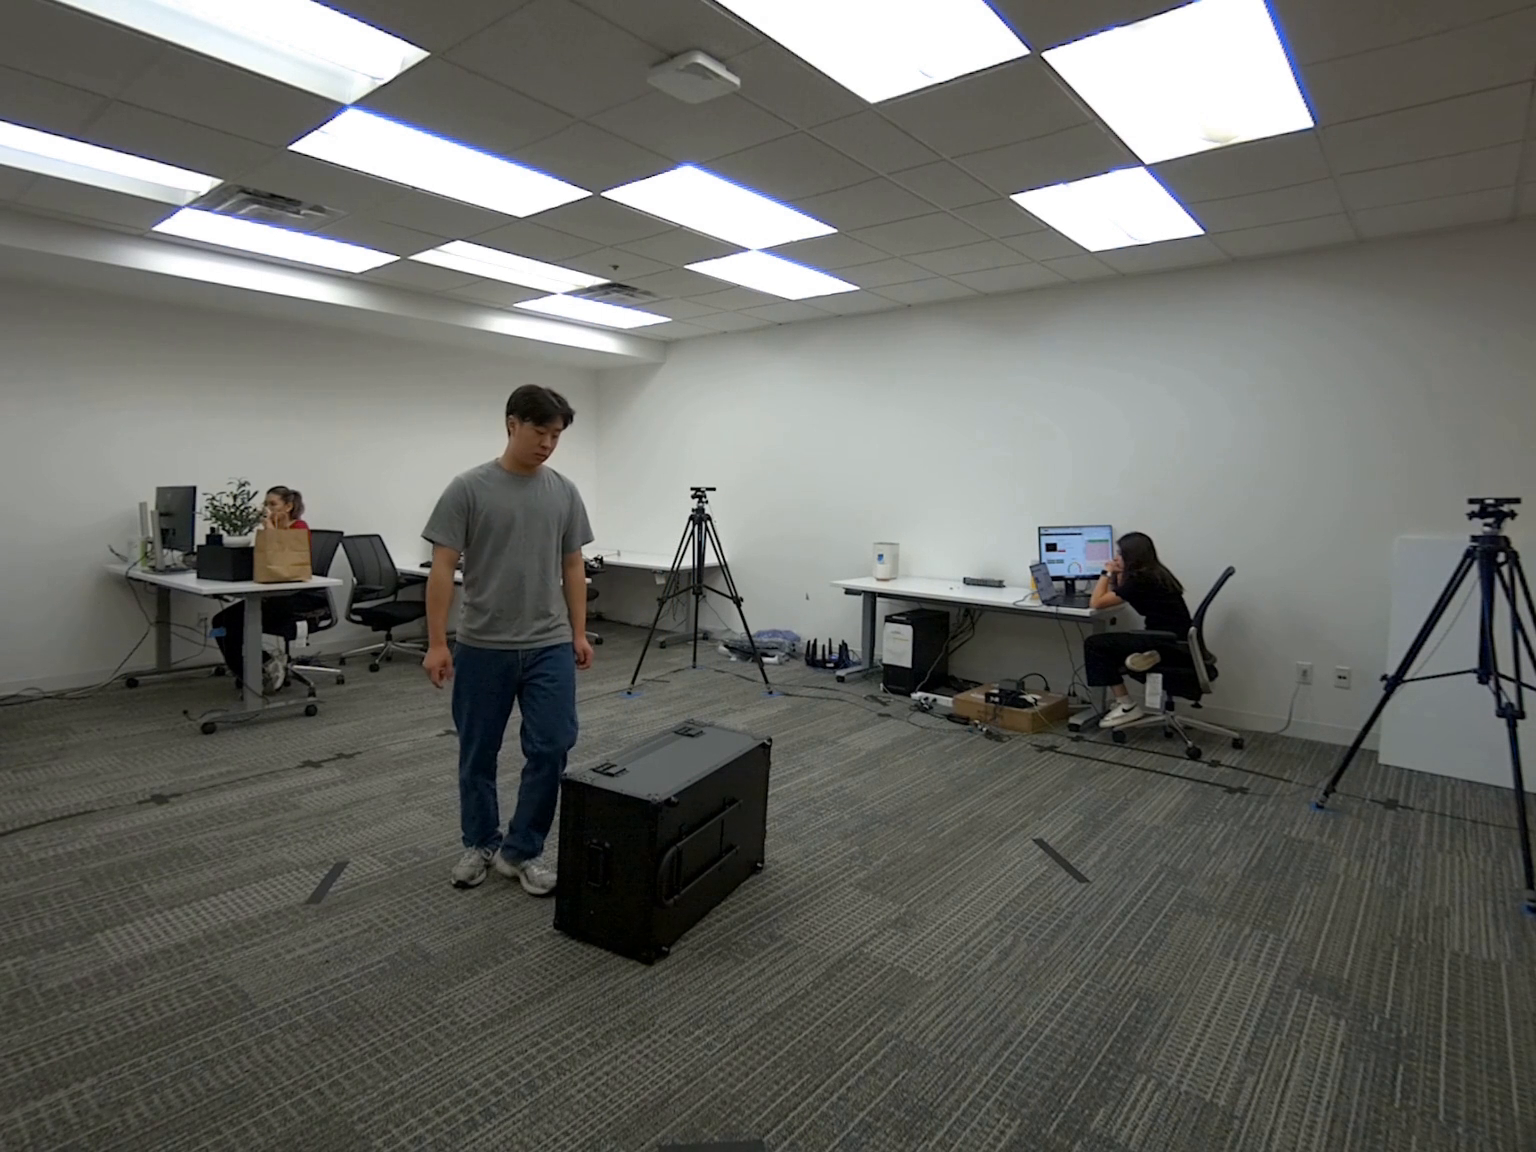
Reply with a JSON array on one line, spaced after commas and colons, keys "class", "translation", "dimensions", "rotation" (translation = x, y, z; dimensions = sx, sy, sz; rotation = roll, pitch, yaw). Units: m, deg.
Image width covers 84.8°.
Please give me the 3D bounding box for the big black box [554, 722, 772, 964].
[{"class": "big black box", "translation": [-0.307, 0.830, 2.887], "dimensions": [0.407, 0.519, 0.842], "rotation": [6, 6, 24]}]
